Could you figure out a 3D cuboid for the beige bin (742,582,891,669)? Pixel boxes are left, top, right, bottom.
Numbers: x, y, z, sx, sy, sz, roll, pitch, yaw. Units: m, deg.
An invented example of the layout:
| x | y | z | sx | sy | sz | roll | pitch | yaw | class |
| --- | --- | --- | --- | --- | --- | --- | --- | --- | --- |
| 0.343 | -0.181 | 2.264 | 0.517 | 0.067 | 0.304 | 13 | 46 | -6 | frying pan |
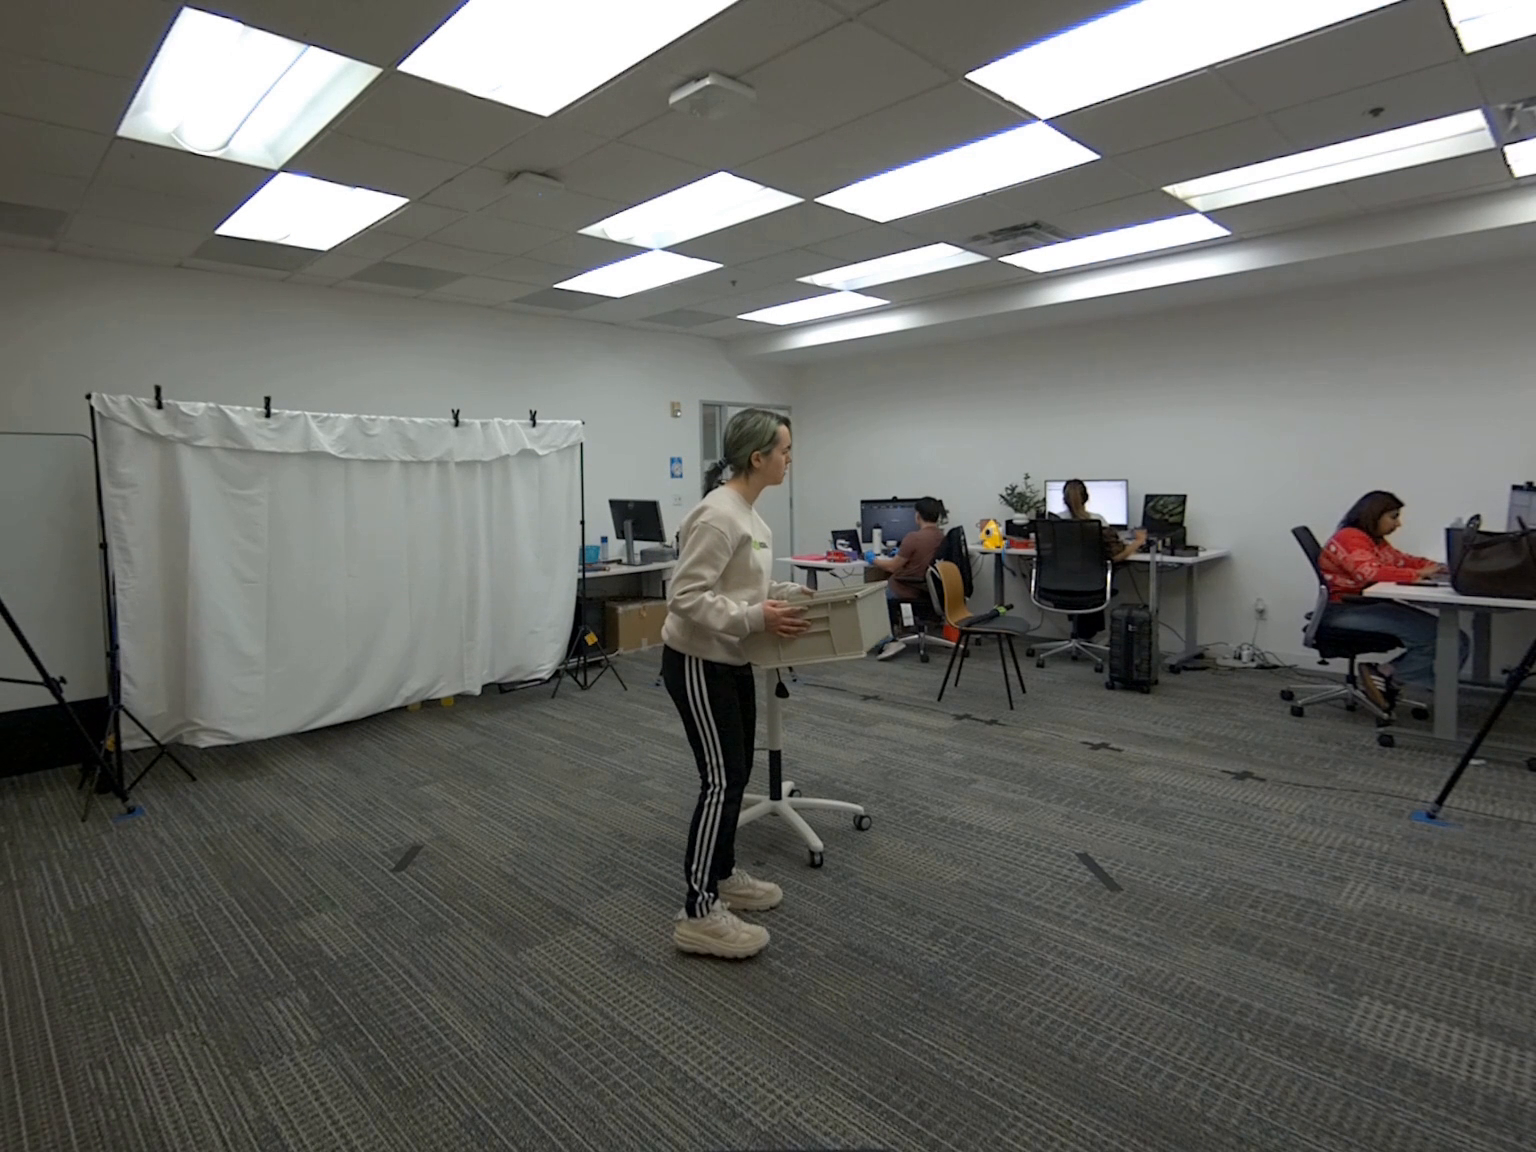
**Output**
| x | y | z | sx | sy | sz | roll | pitch | yaw | class |
| --- | --- | --- | --- | --- | --- | --- | --- | --- | --- |
| 0.157 | 0.150 | 2.617 | 0.383 | 0.189 | 0.415 | -8 | 2 | 20 | beige bin |
